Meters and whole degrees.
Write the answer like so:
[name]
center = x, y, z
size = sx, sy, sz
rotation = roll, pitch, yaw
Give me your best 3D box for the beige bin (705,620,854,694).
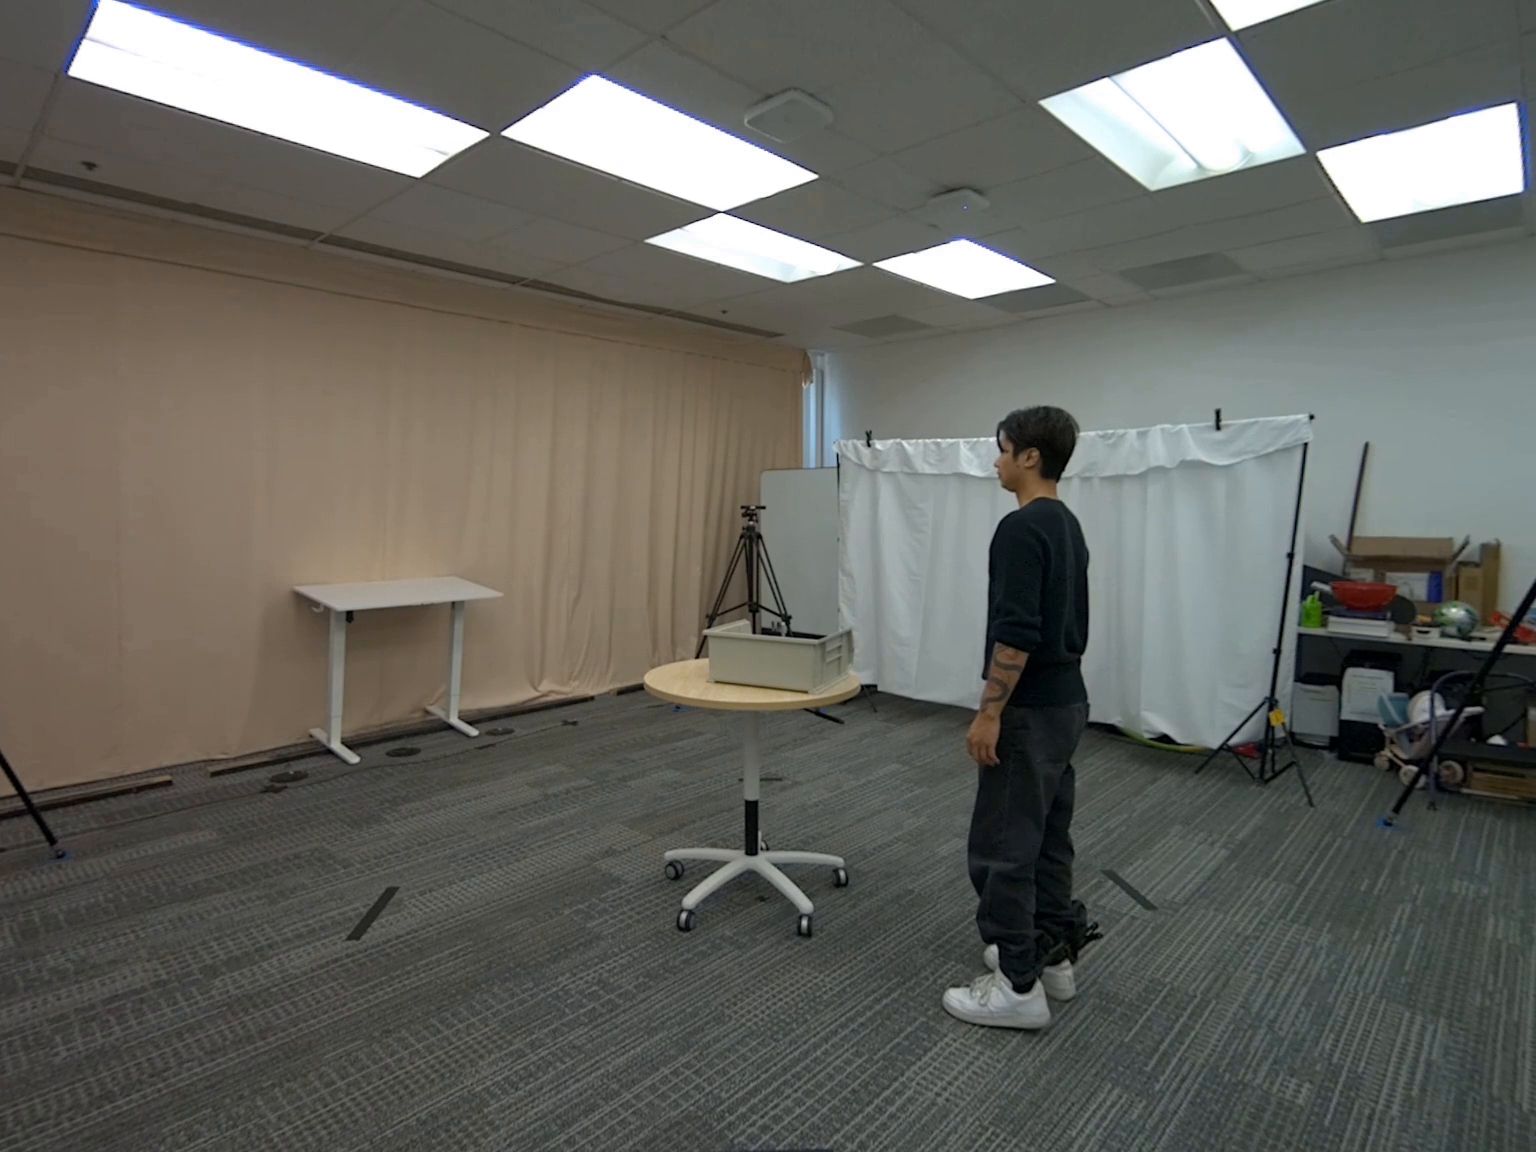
[beige bin]
center = 0.049, 0.272, 2.951
size = 0.434, 0.188, 0.369
rotation = 3, 7, 26
